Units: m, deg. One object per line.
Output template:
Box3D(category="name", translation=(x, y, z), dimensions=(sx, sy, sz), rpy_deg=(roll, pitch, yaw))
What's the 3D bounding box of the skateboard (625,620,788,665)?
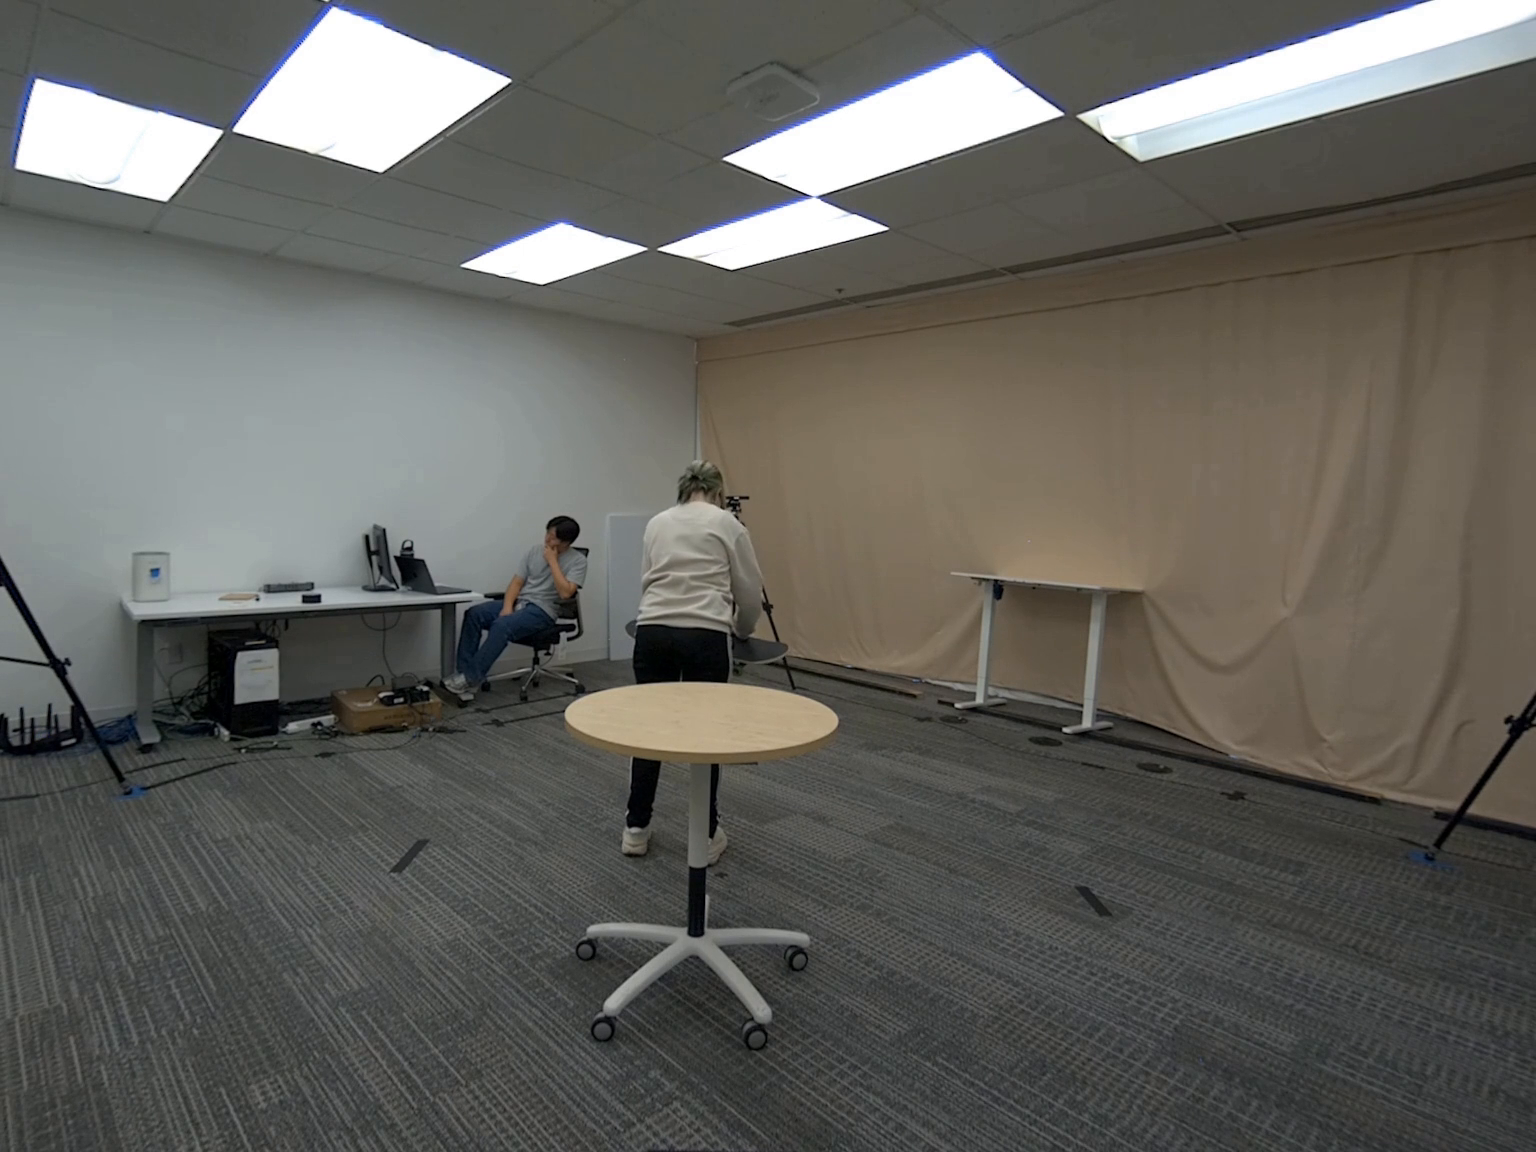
Box3D(category="skateboard", translation=(-0.280, 0.318, 3.626), dimensions=(0.802, 0.108, 0.192), rpy_deg=(7, 26, 27))
